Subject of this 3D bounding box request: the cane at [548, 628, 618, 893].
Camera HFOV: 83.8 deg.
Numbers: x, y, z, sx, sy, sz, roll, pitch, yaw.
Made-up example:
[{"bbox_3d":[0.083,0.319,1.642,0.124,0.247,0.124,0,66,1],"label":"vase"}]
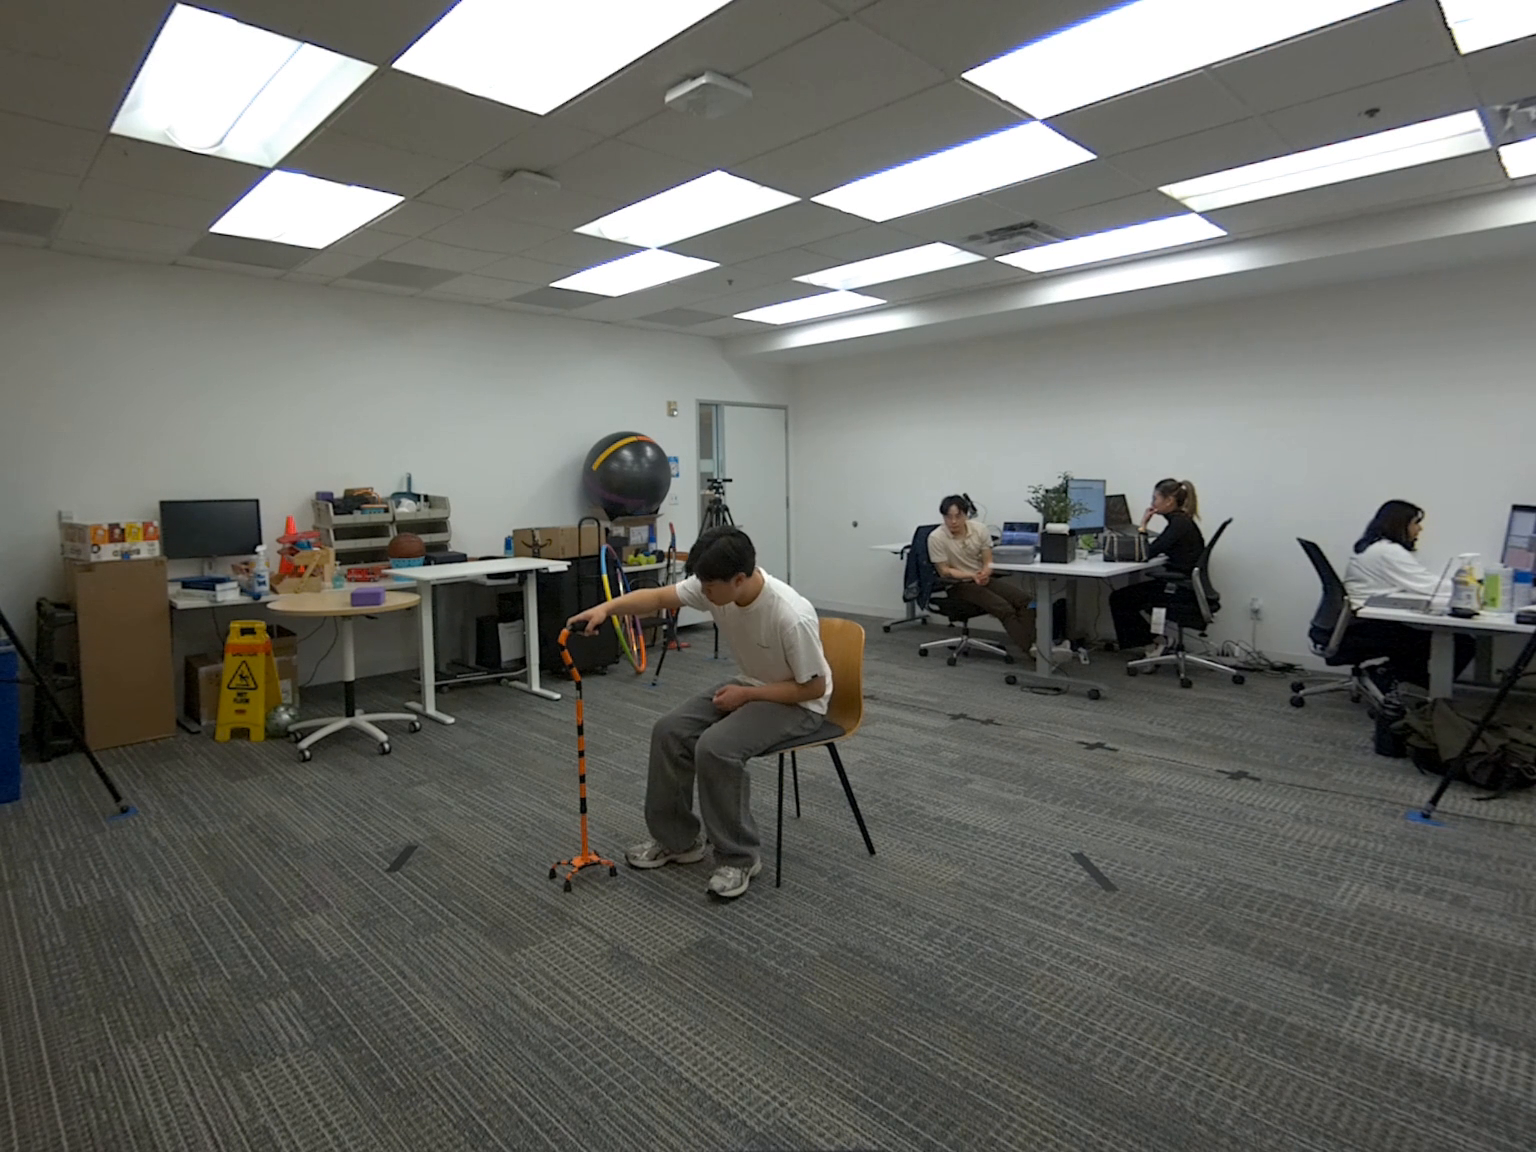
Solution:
[{"bbox_3d":[-0.664,0.612,3.005,0.201,0.904,0.156,-5,5,-39],"label":"cane"}]
